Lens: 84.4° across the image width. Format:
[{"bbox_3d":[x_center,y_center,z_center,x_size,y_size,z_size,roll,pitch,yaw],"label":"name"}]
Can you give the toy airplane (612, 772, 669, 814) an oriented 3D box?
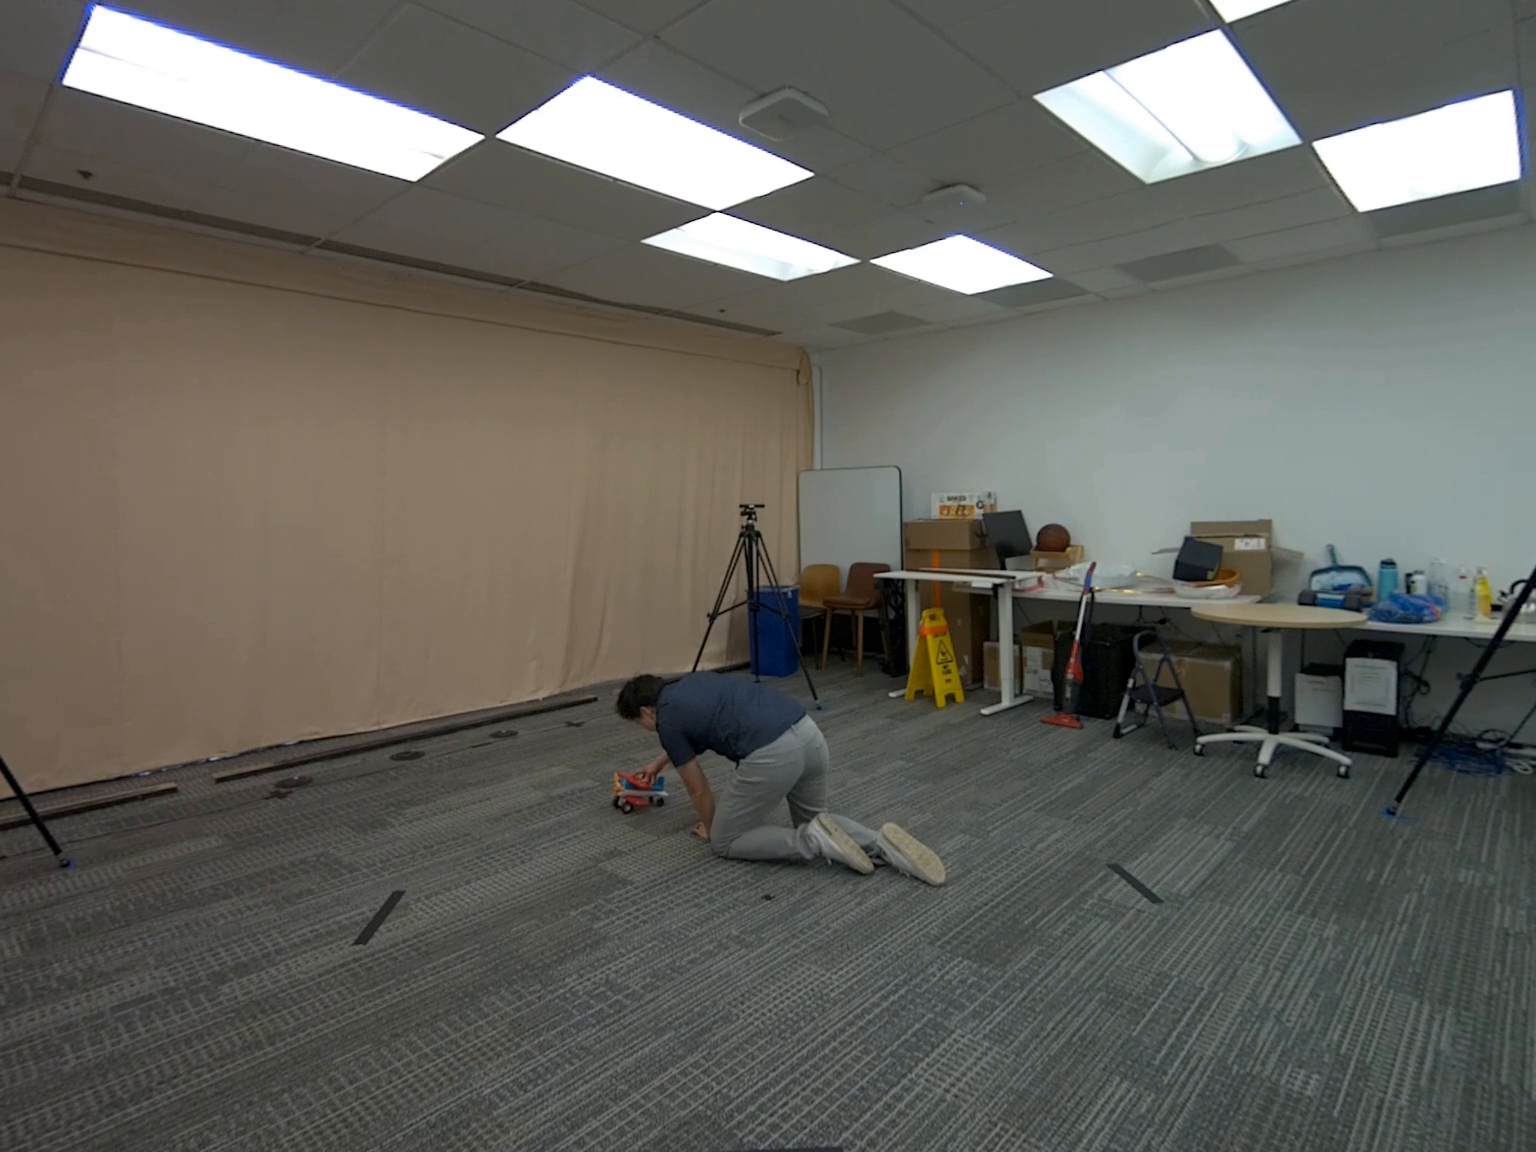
[{"bbox_3d":[-0.611,1.002,3.936,0.258,0.156,0.253,3,5,27],"label":"toy airplane"}]
